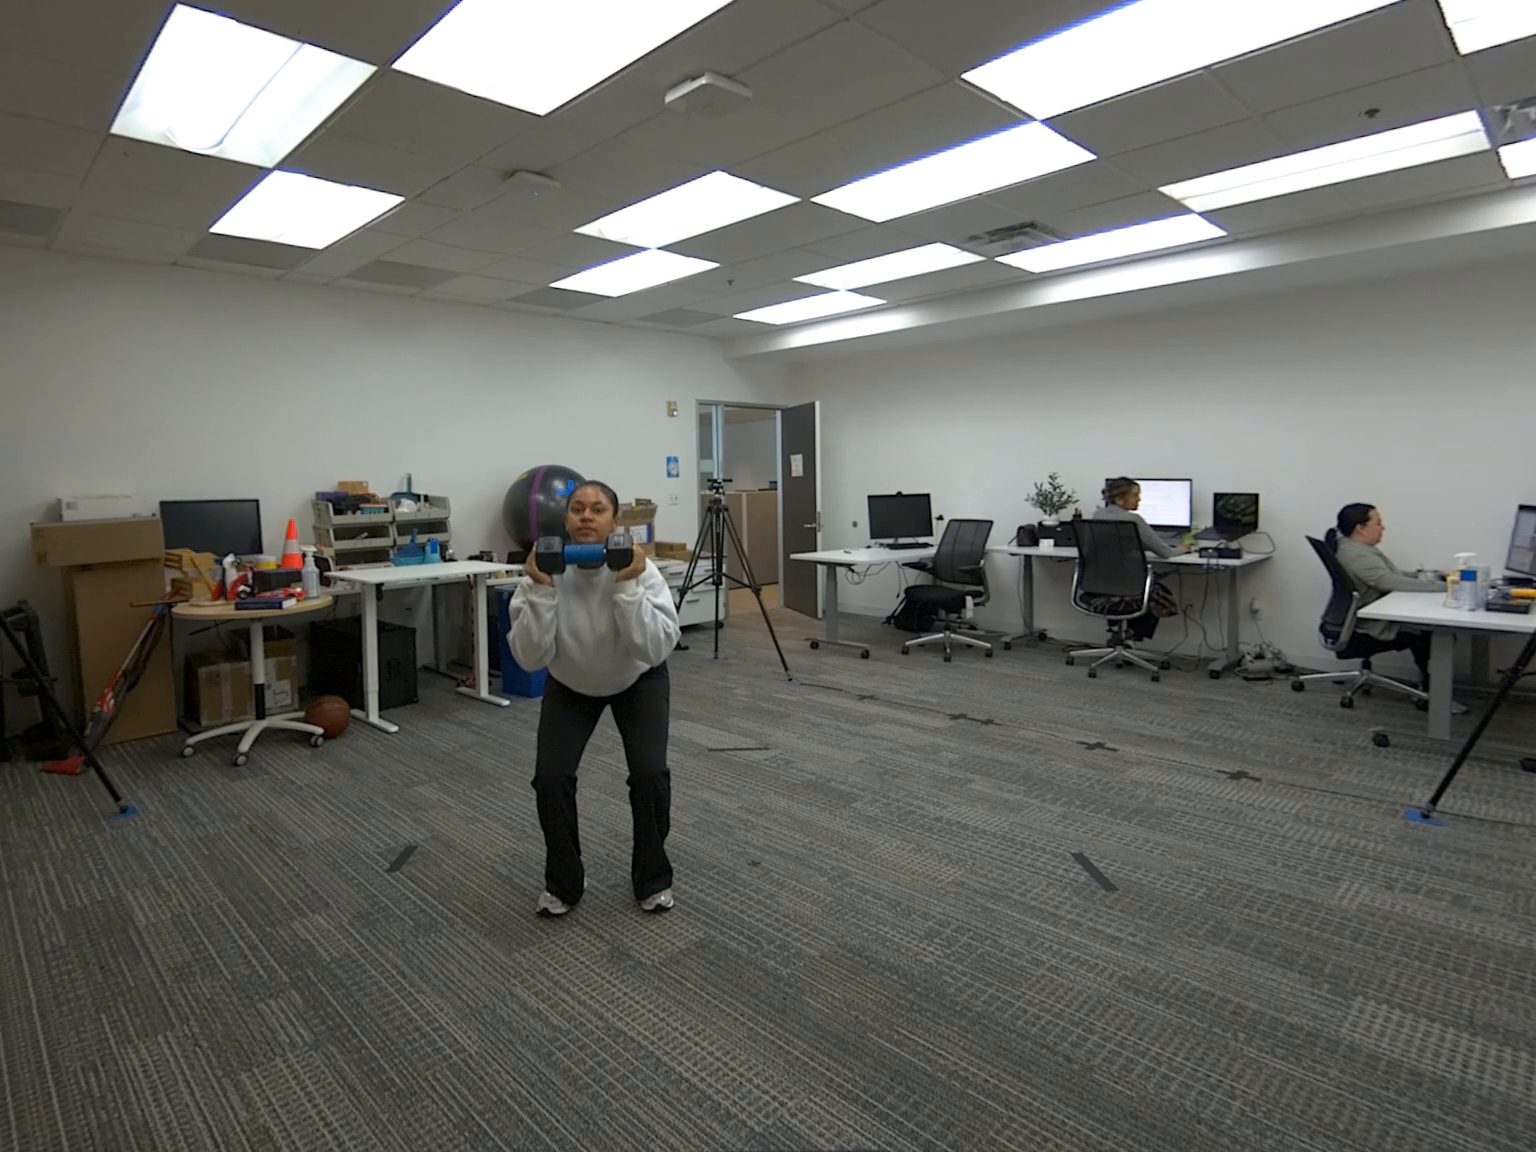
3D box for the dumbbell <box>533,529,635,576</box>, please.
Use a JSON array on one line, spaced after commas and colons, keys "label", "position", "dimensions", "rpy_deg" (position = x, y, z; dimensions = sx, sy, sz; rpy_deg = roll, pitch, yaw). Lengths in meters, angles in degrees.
[{"label": "dumbbell", "position": [-0.559, -0.068, 2.607], "dimensions": [0.293, 0.126, 0.105], "rpy_deg": [-5, -41, -2]}]
